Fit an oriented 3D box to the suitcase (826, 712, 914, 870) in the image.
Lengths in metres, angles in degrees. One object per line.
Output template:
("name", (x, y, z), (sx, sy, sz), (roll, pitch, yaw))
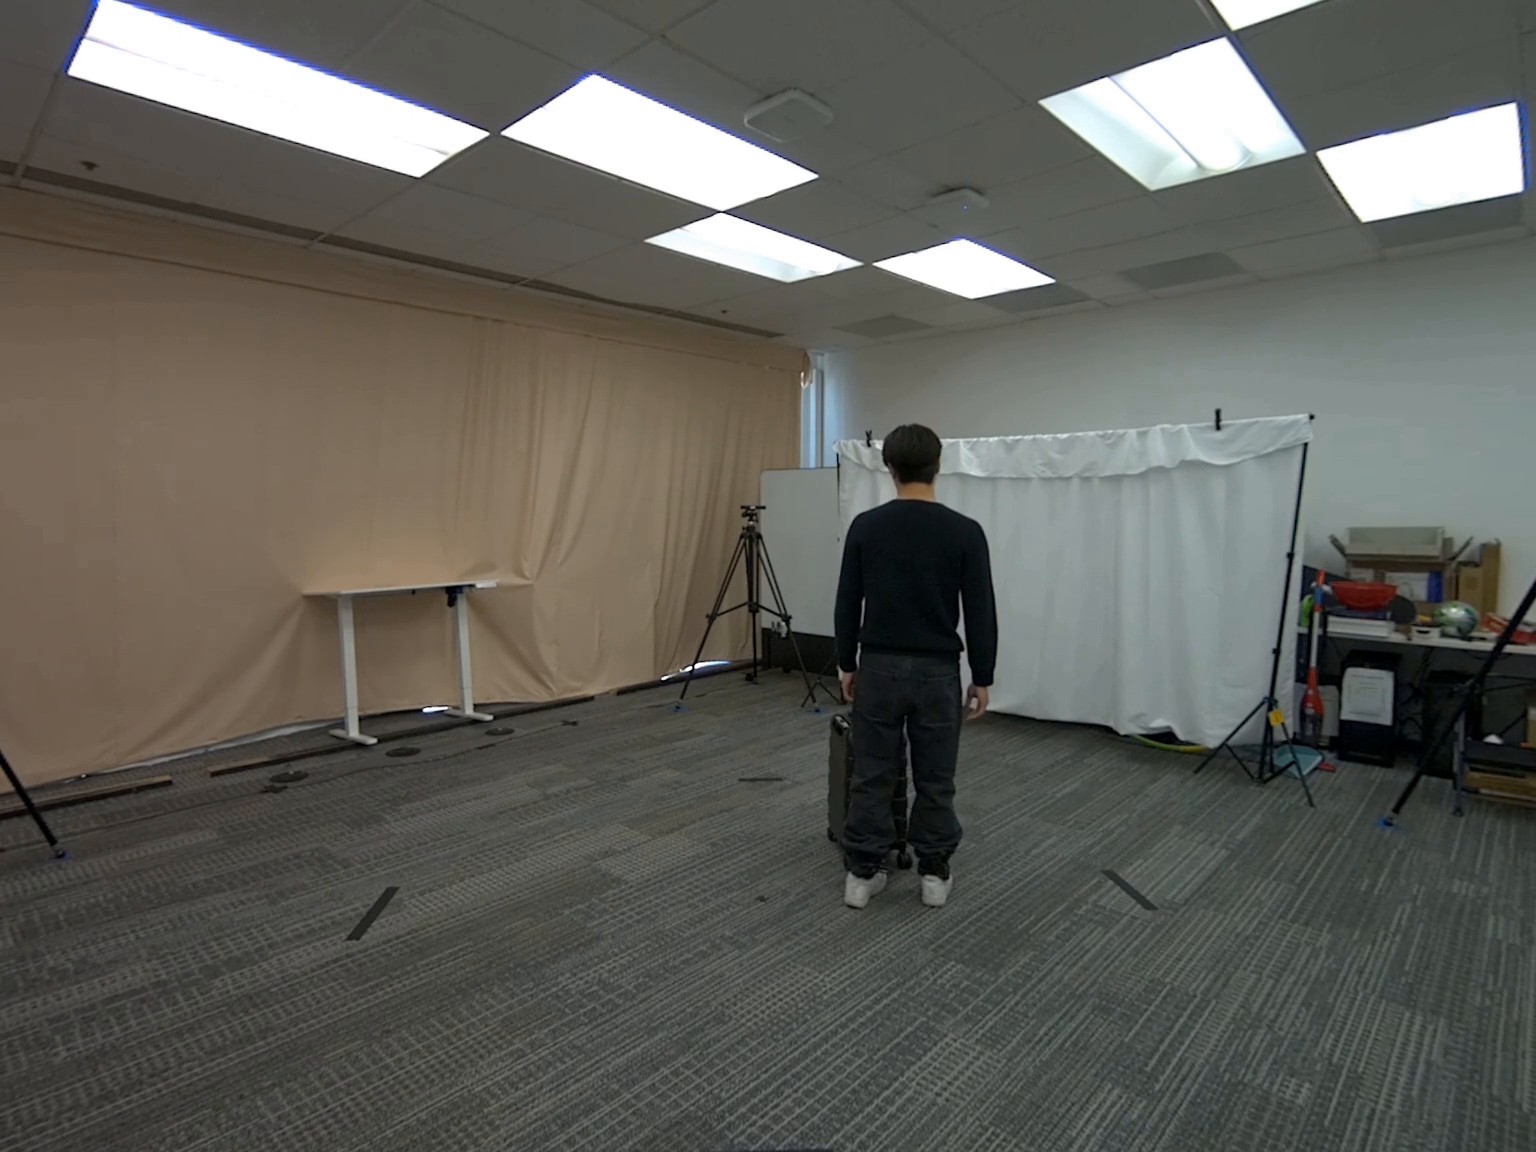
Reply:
("suitcase", (0.405, 0.835, 3.389), (0.246, 0.548, 0.379), (0, 2, -8))
